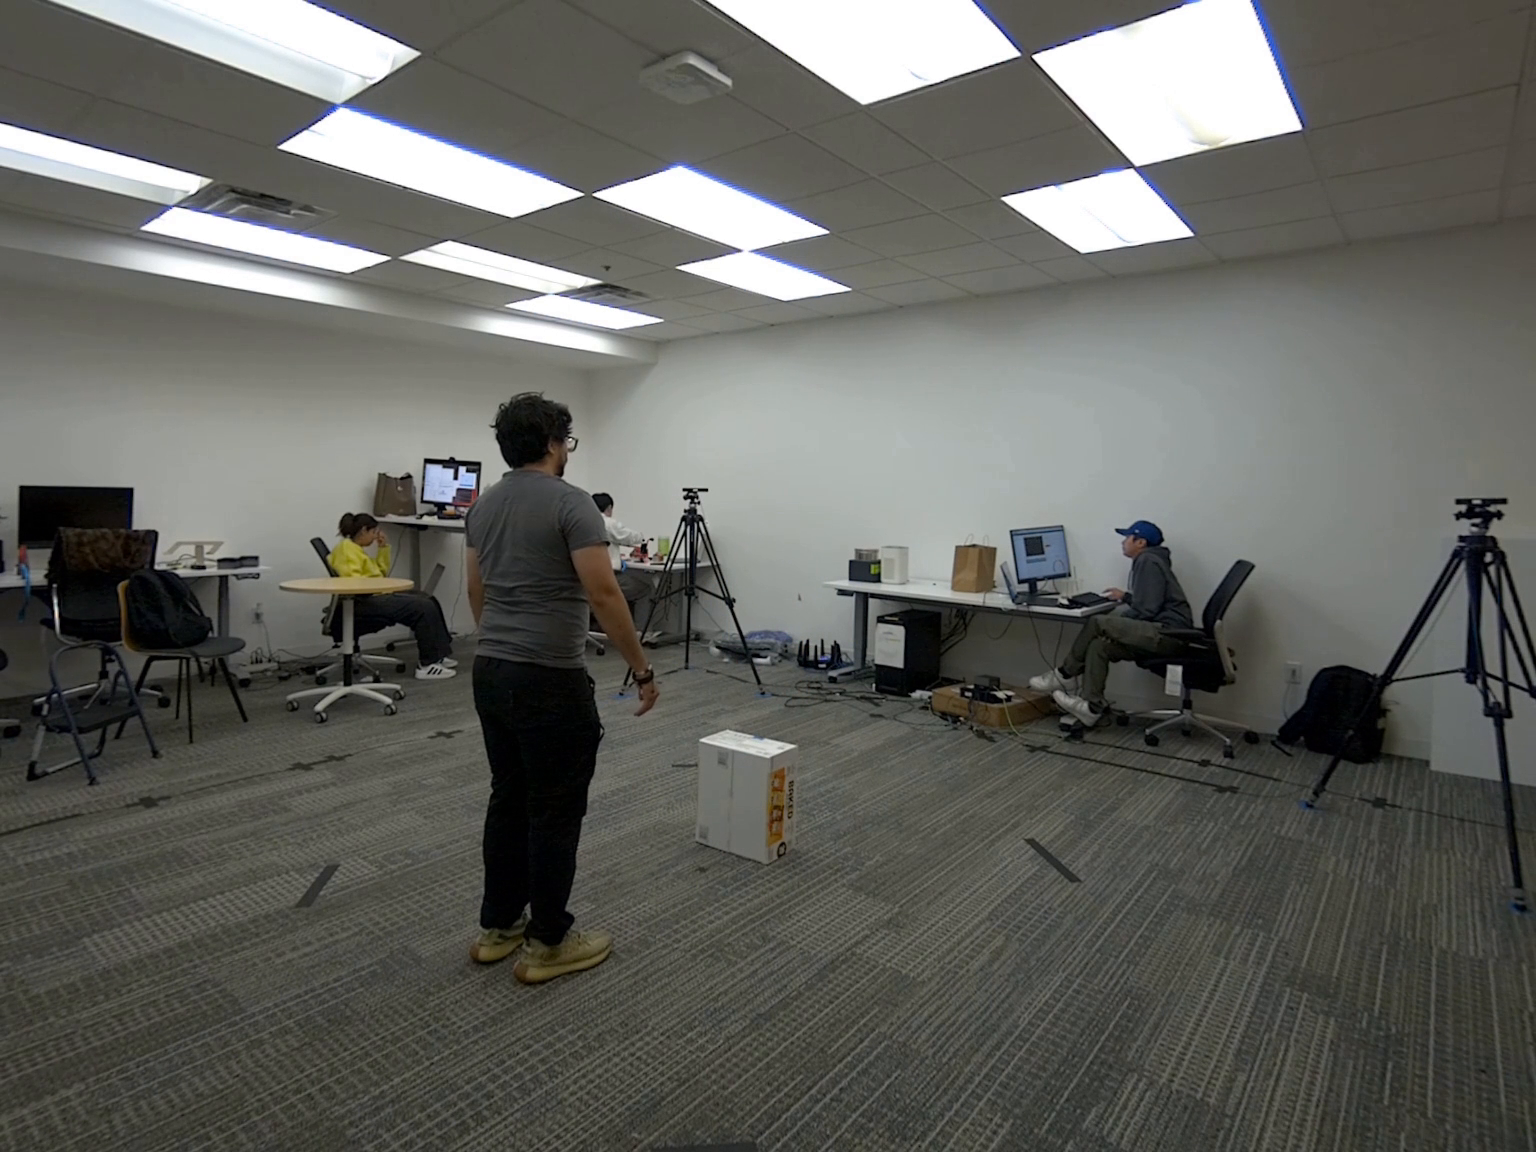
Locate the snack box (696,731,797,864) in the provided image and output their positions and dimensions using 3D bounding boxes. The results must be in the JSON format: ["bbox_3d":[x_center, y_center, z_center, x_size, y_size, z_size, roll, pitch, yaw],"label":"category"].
[{"bbox_3d":[-0.095,0.847,3.318,0.351,0.404,0.200,4,4,34],"label":"snack box"}]
